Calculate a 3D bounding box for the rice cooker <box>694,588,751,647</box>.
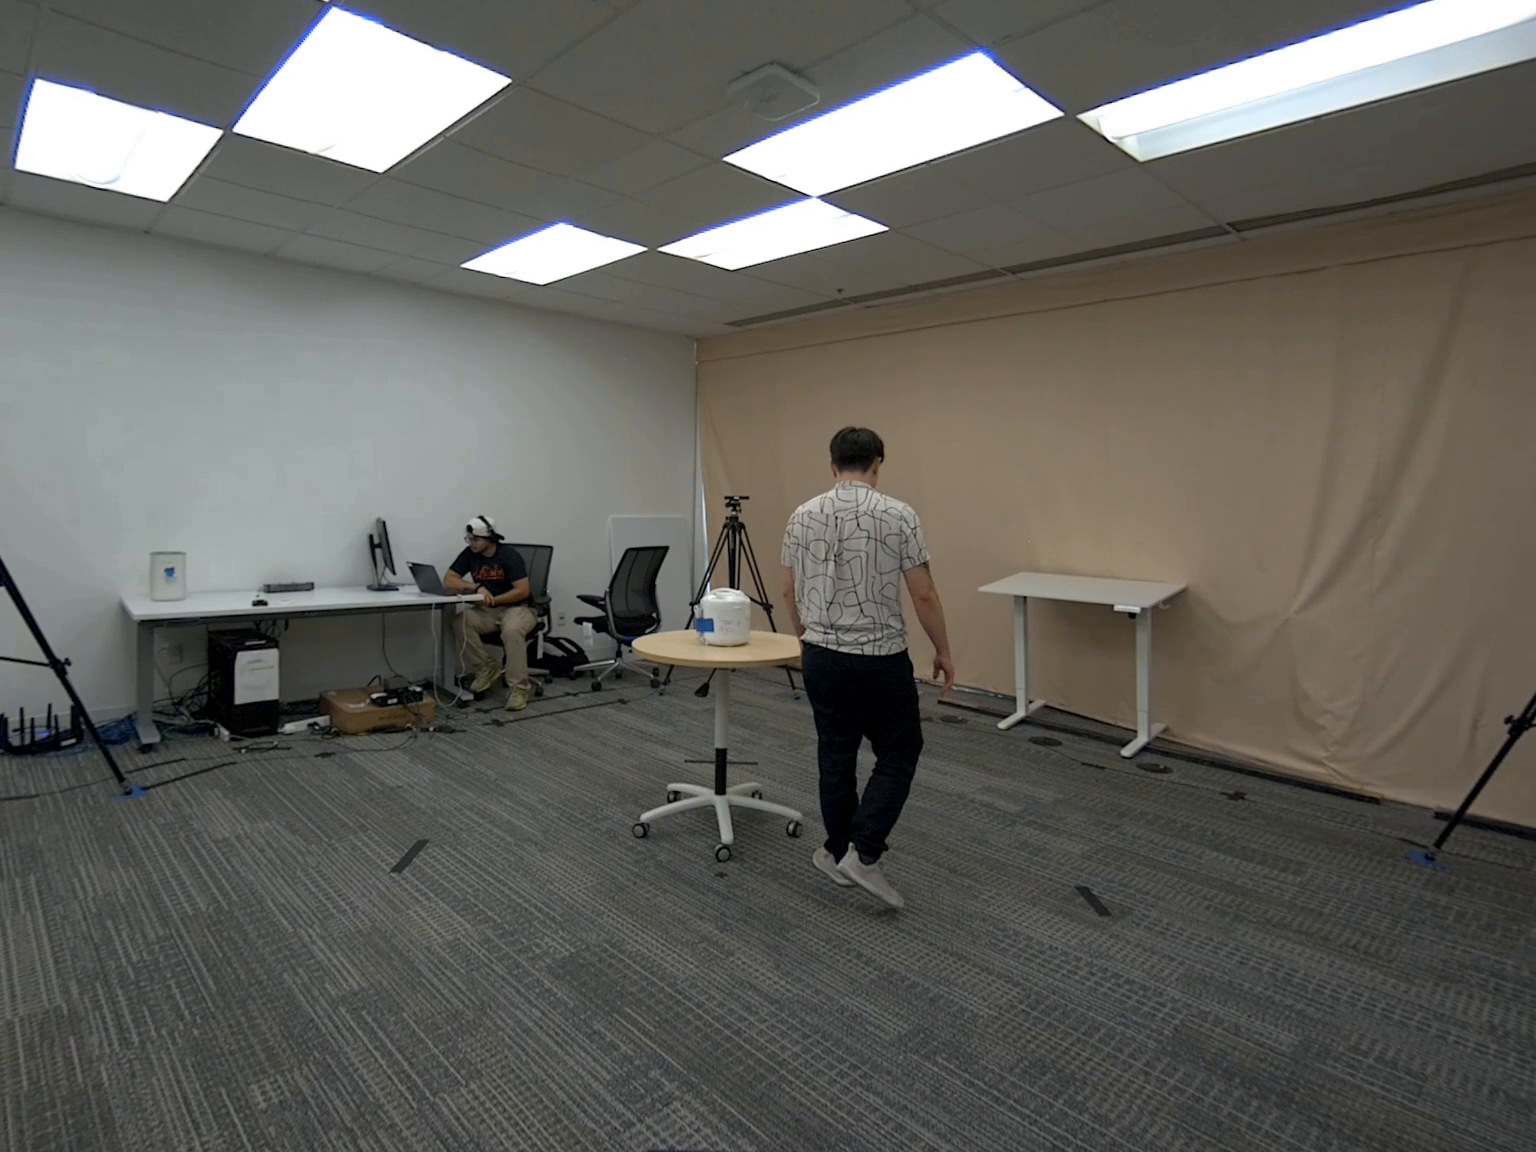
[{"bbox_3d":[-0.187,0.167,3.532,0.225,0.232,0.214,4,6,24],"label":"rice cooker"}]
